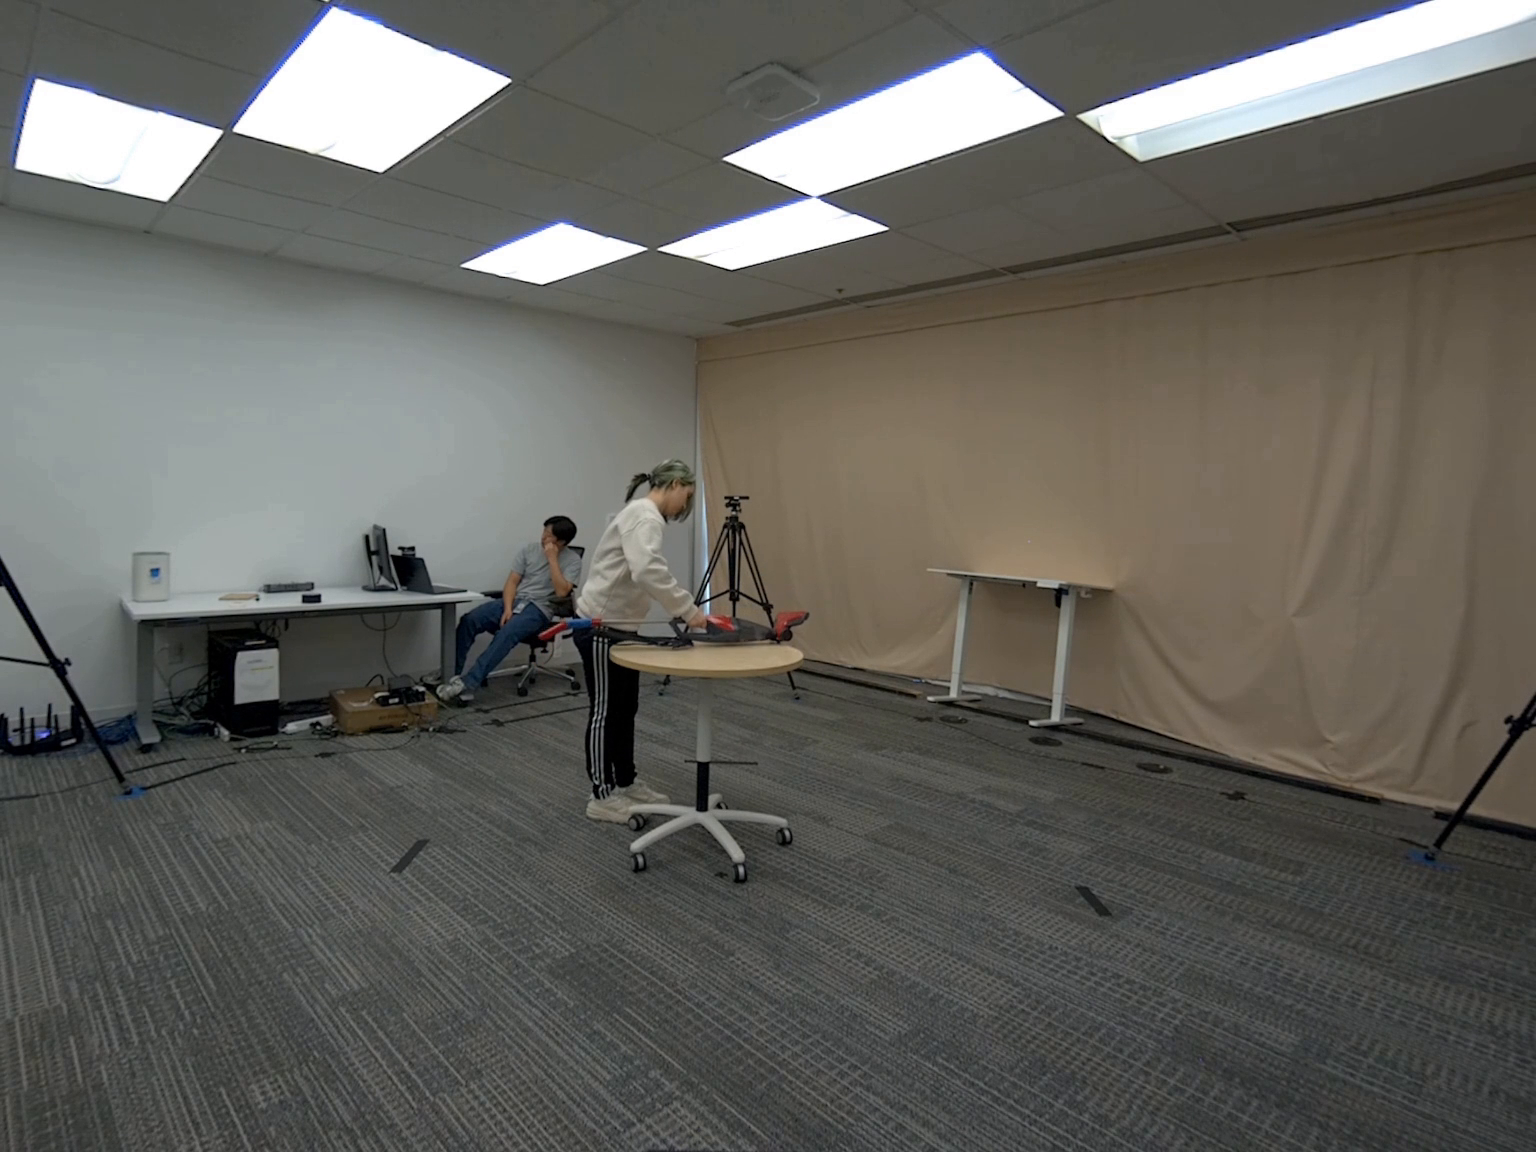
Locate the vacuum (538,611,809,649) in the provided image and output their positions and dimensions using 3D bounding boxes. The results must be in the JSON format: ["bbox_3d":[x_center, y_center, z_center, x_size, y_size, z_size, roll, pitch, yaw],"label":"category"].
[{"bbox_3d":[-0.389,0.239,3.390,1.032,0.144,0.256,-1,-1,-23],"label":"vacuum"}]
